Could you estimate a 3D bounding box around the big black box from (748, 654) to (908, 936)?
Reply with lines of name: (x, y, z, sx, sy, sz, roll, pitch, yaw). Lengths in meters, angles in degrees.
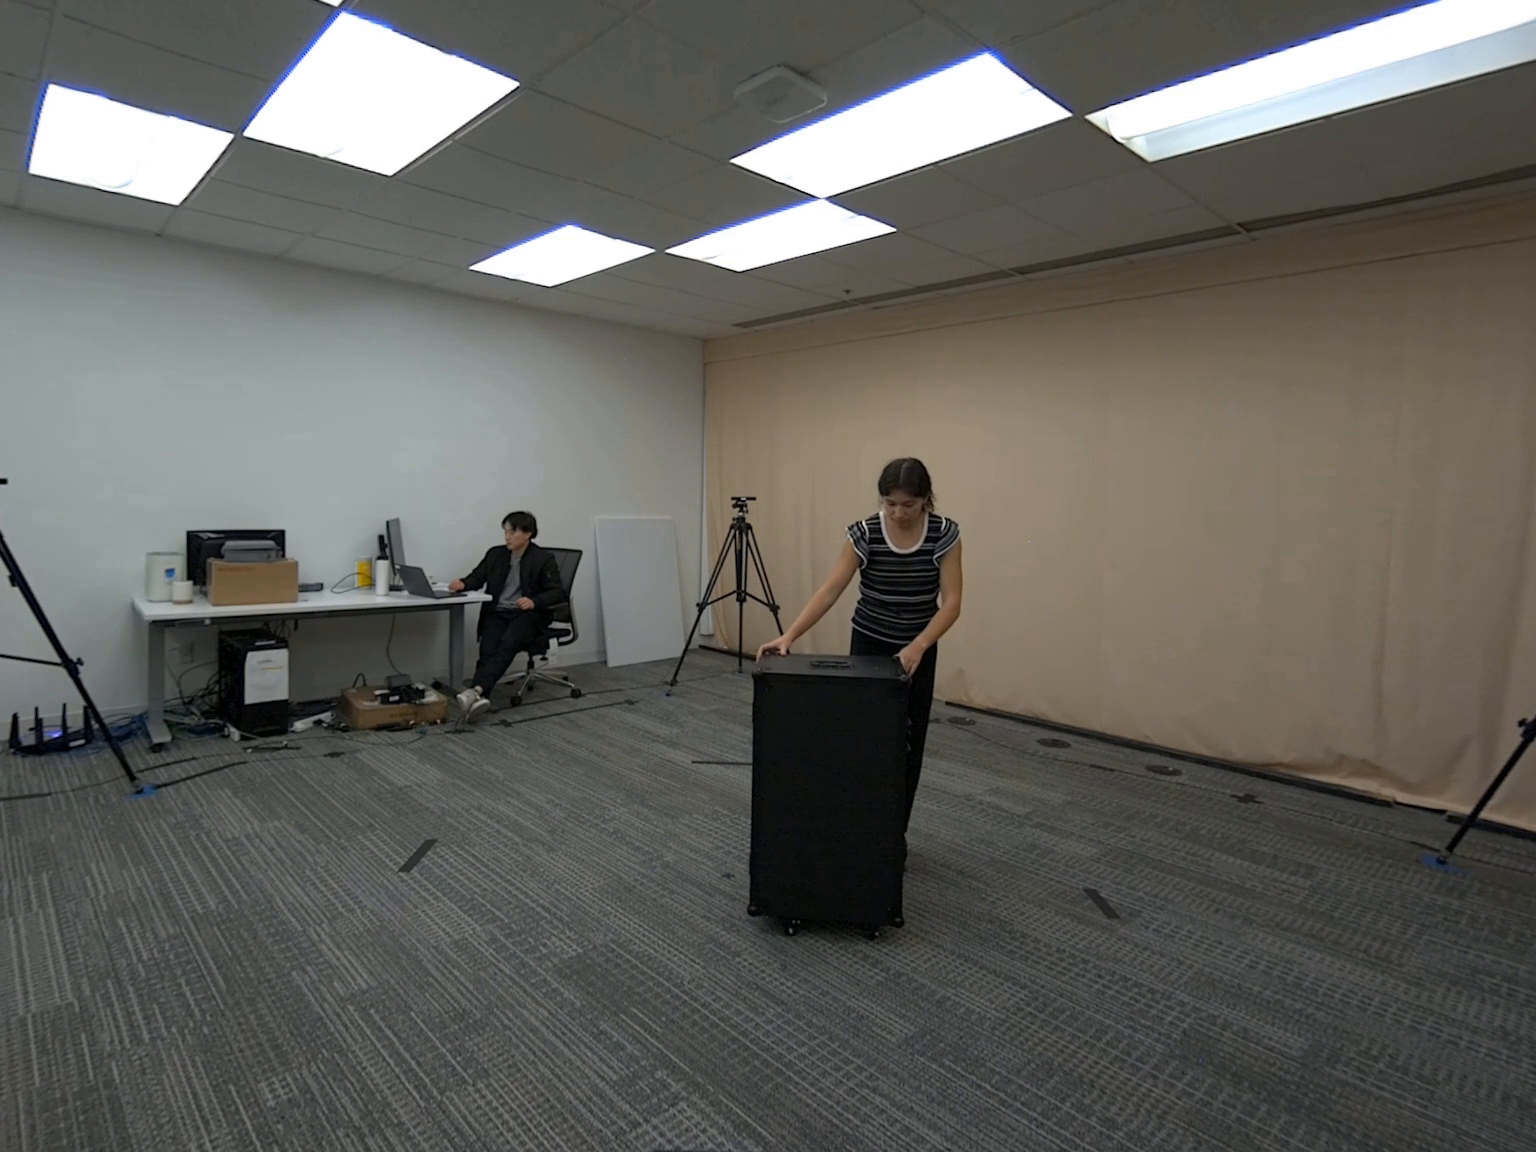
big black box: (0.186, 0.716, 2.805, 0.524, 0.860, 0.394, 2, 2, 7)
